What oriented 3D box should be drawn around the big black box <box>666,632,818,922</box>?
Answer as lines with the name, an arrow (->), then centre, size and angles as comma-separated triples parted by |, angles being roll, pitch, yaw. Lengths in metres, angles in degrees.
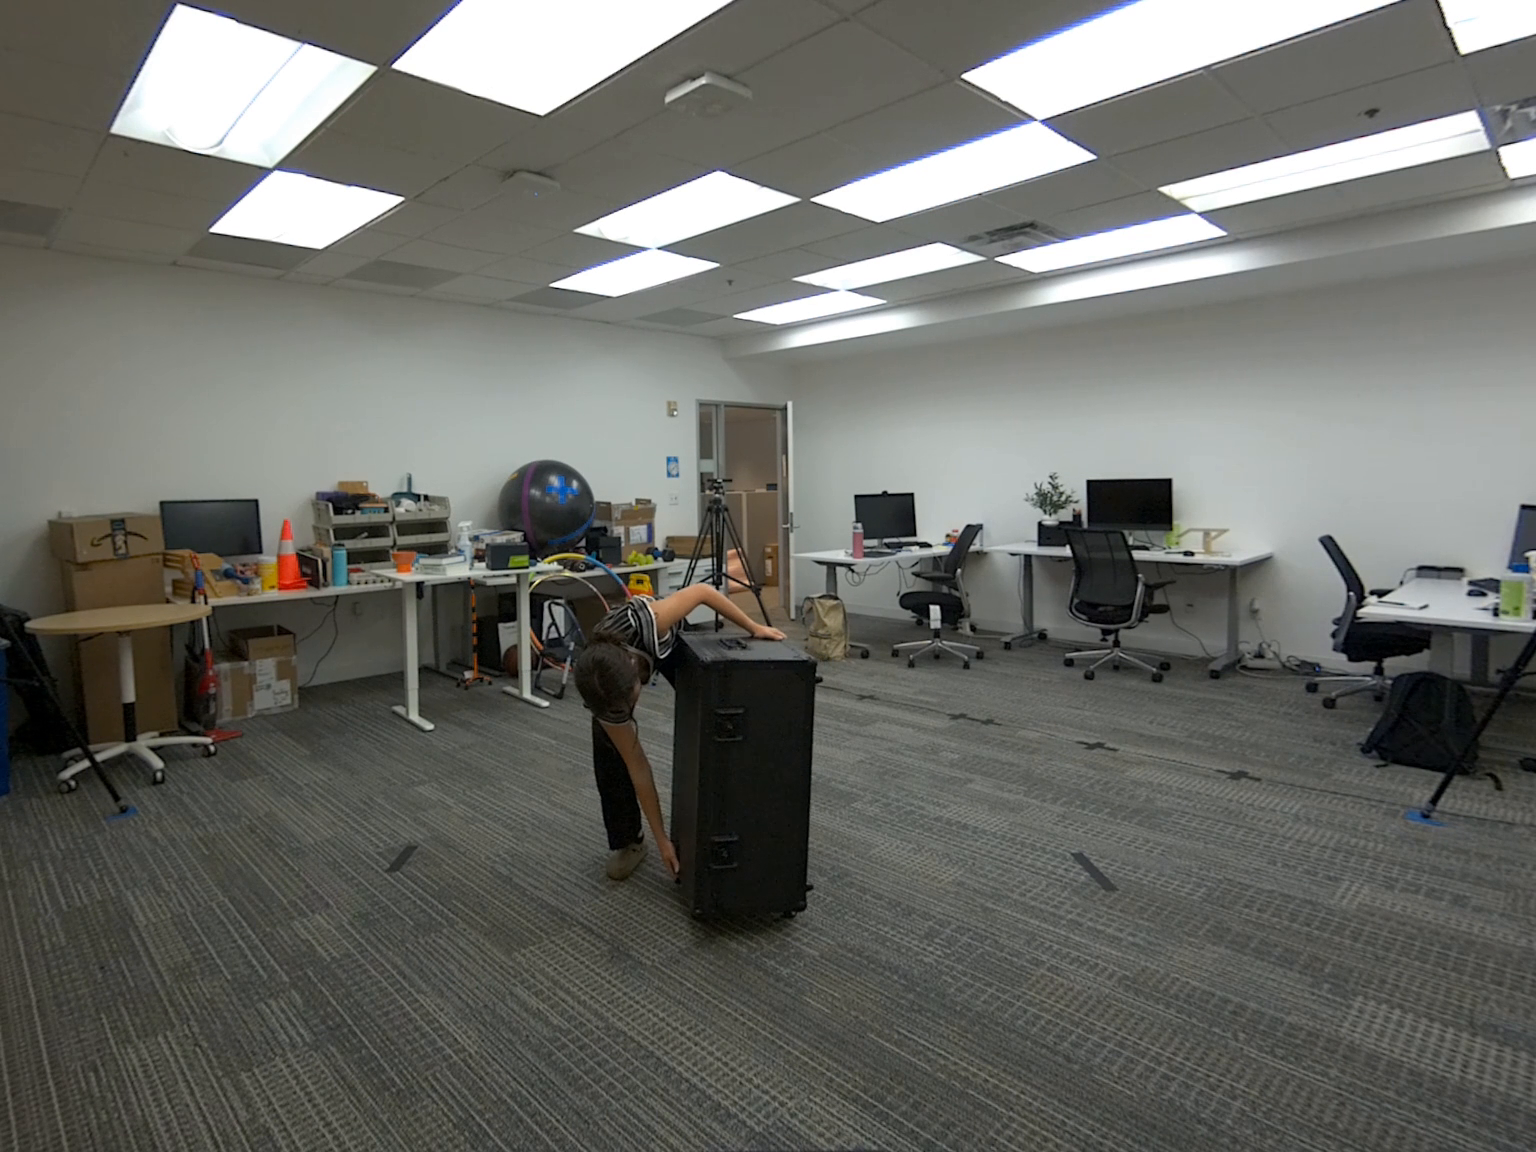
big black box -> -0.097, 0.643, 2.802 | 0.391, 0.859, 0.529 | 0, 3, -13
